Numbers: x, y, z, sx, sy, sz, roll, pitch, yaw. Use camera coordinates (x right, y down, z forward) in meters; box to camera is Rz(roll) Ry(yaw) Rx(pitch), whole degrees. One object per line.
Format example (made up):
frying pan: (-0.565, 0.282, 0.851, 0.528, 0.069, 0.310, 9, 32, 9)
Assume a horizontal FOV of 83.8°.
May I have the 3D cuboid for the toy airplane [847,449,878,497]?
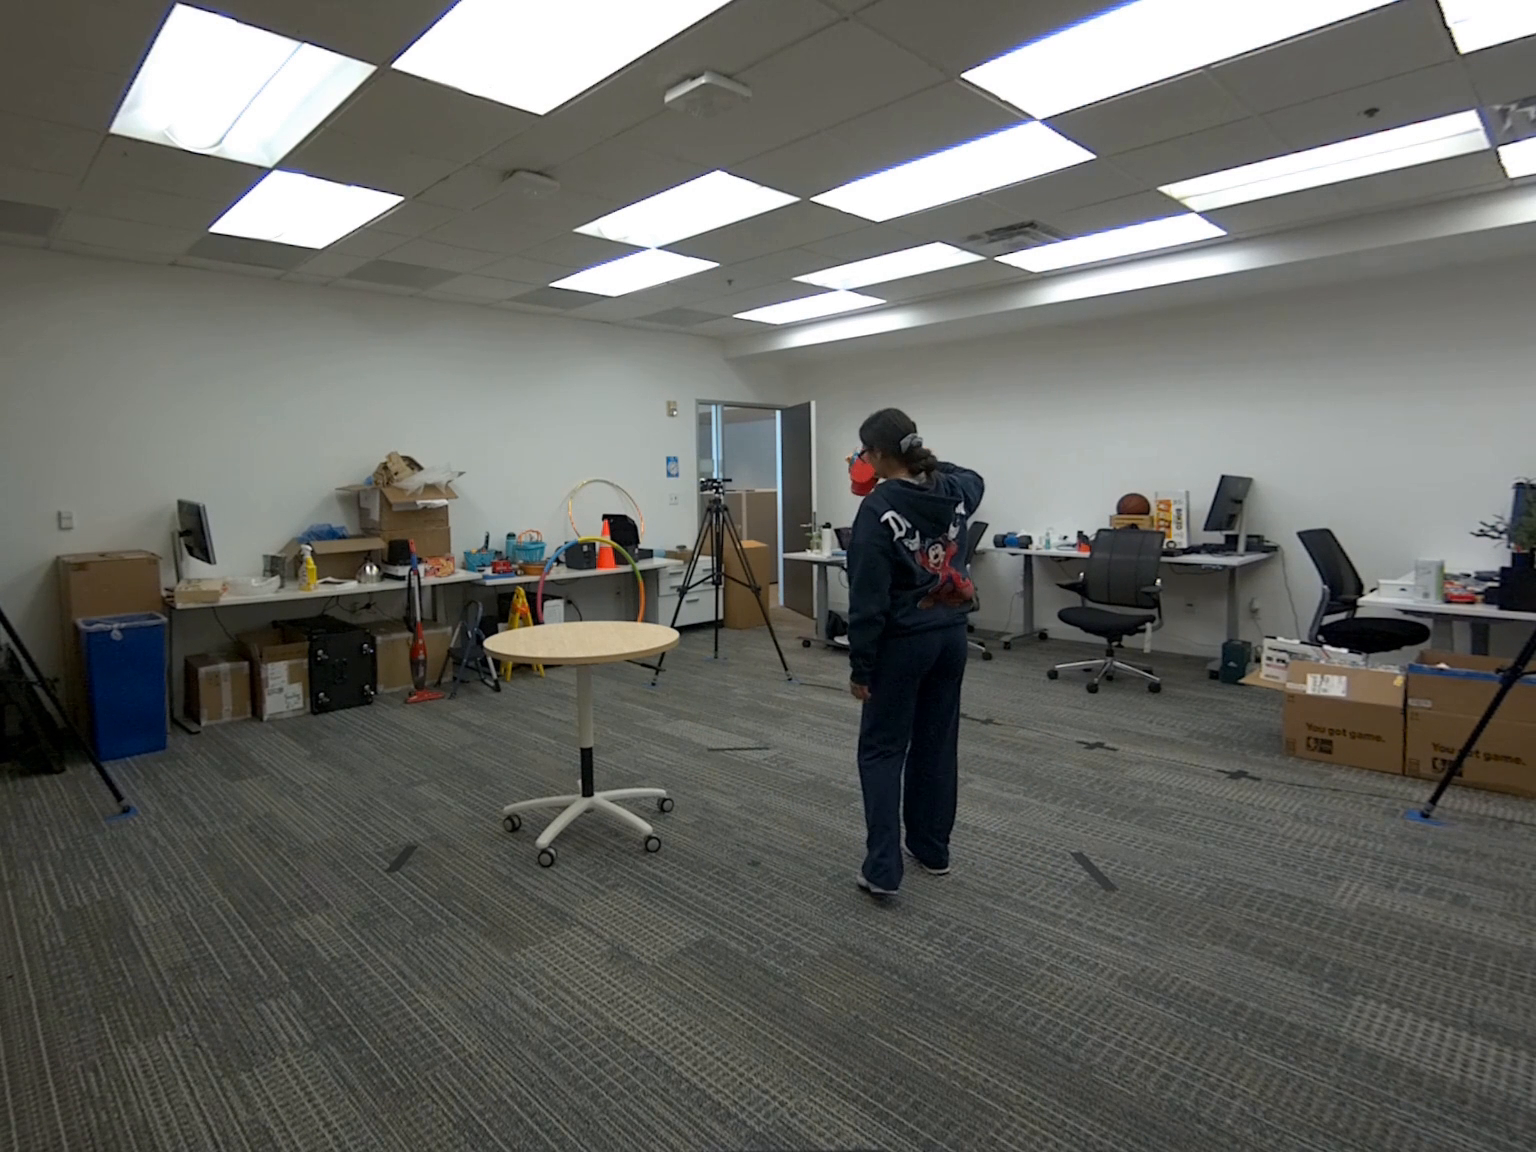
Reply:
toy airplane: (0.448, -0.433, 3.370, 0.262, 0.257, 0.150, -11, -43, 16)
